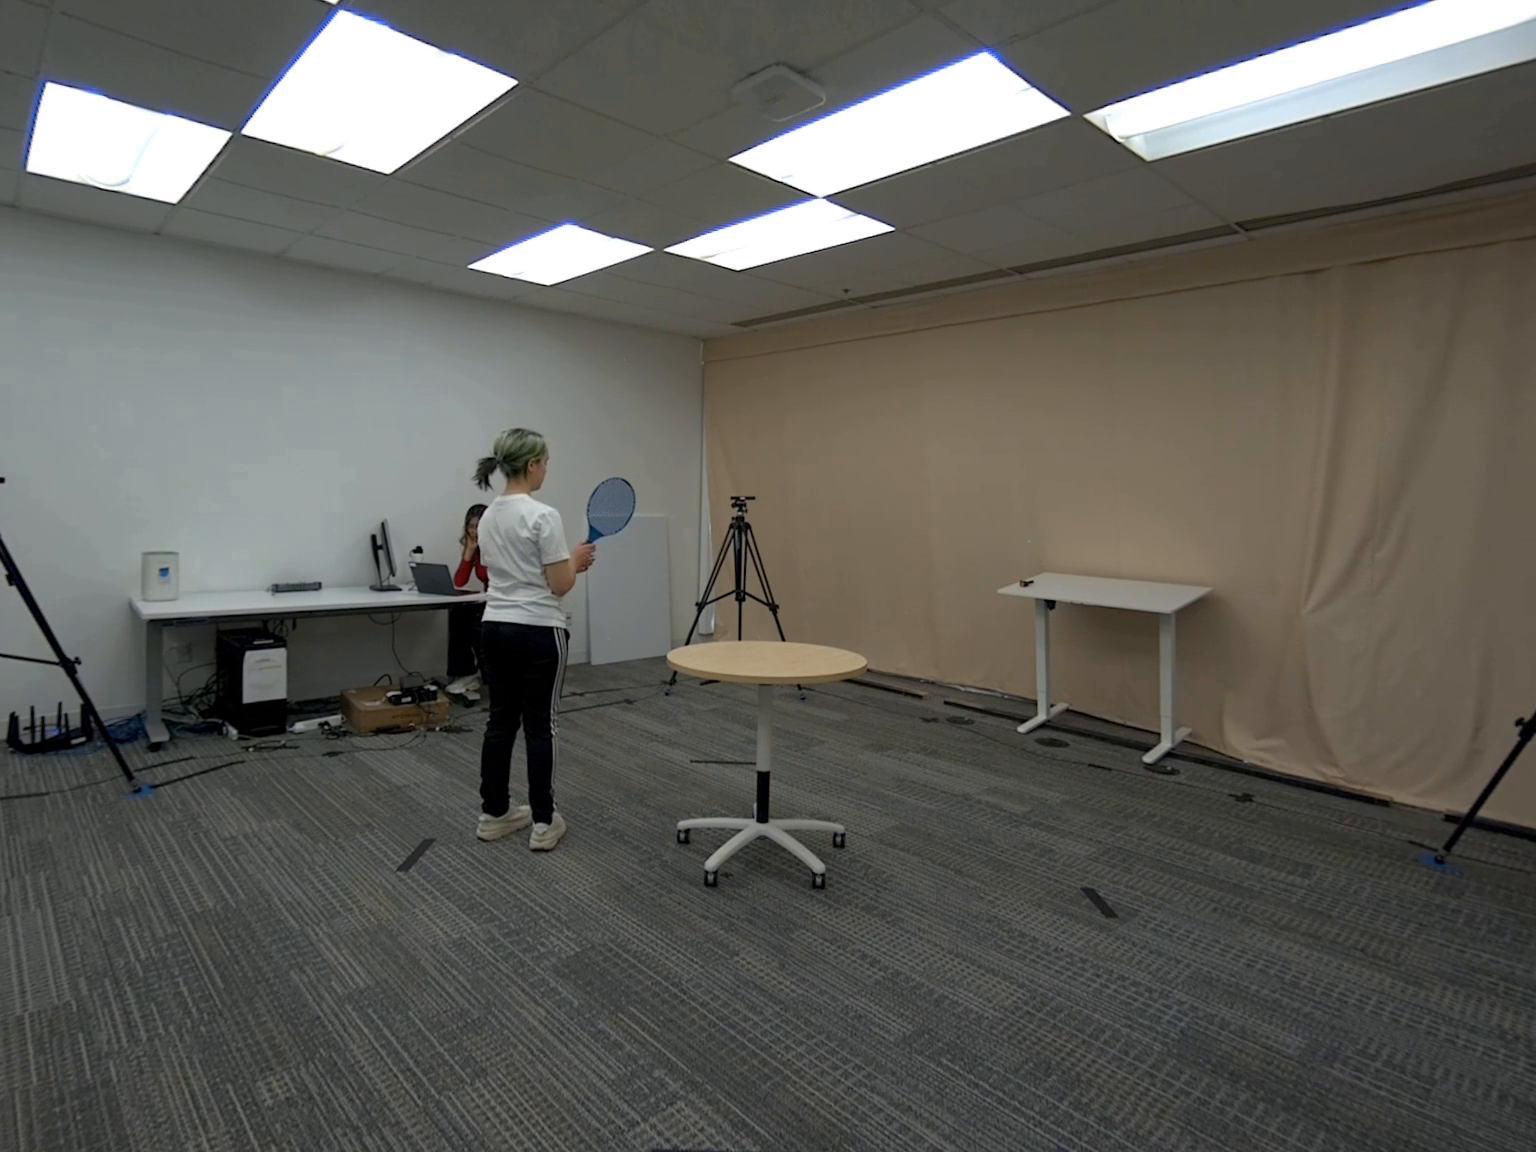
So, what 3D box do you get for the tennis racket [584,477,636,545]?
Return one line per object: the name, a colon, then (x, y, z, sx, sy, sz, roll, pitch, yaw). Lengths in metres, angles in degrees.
tennis racket: (-0.719, -0.226, 3.606, 0.208, 0.435, 0.032, 40, -22, -30)
